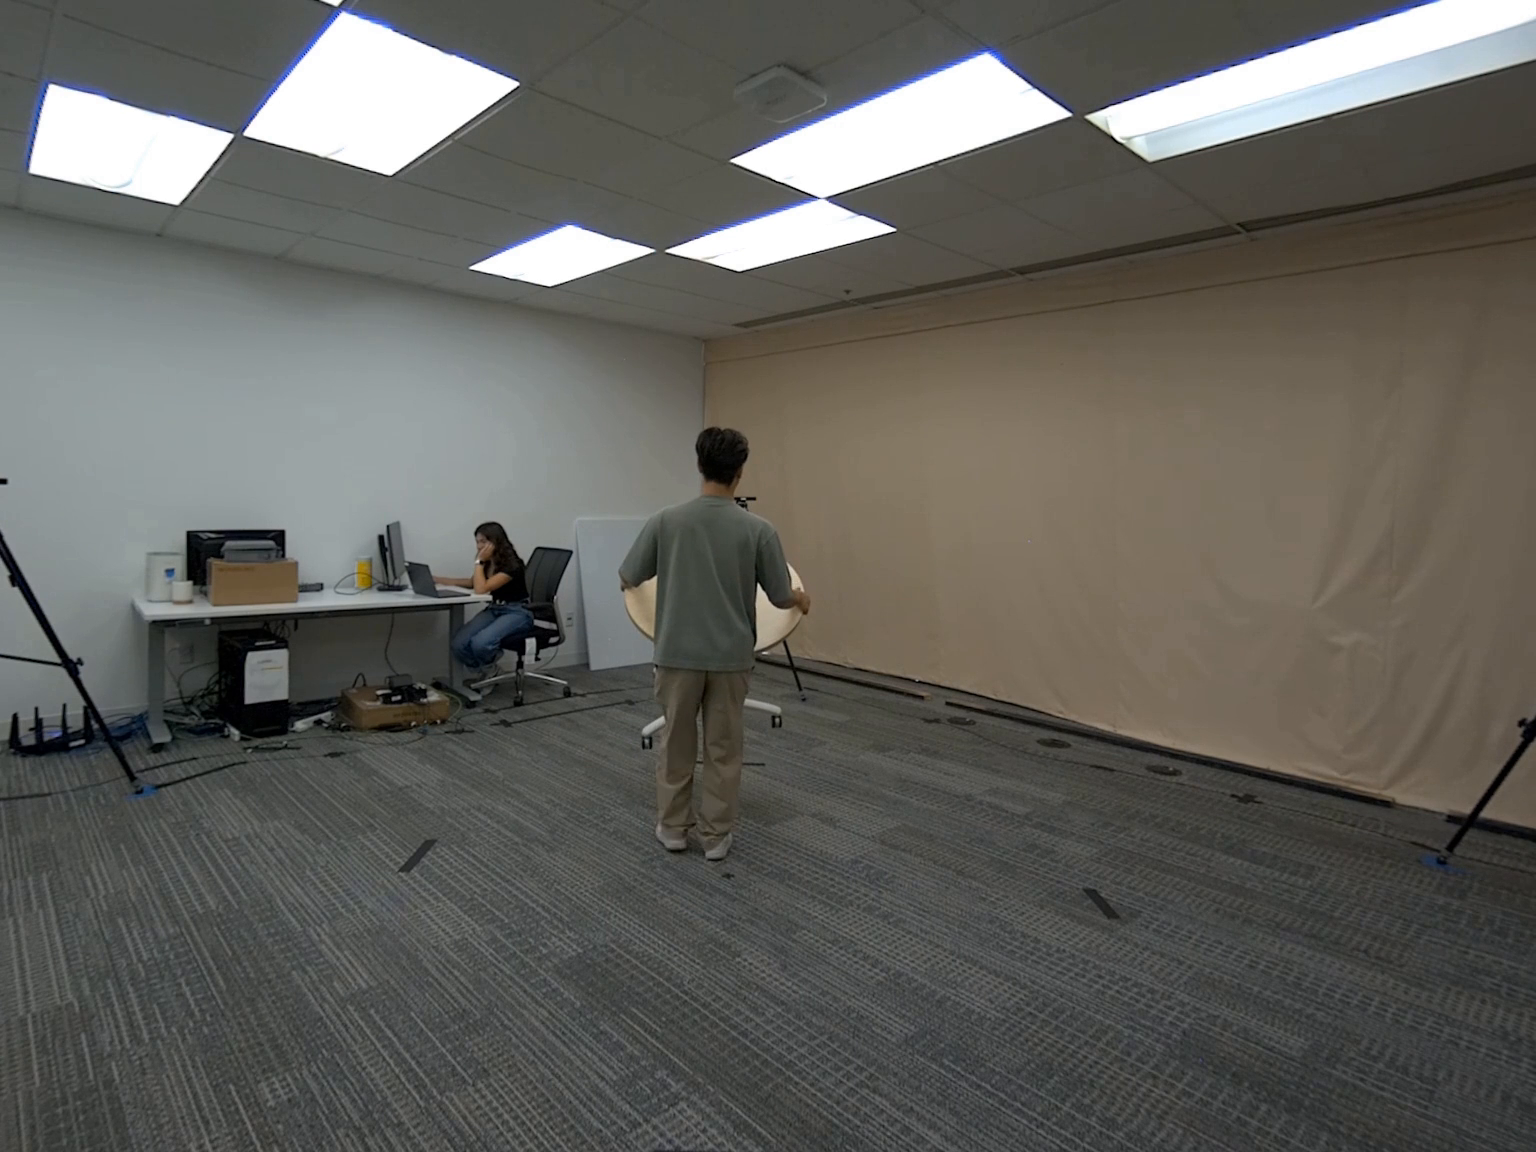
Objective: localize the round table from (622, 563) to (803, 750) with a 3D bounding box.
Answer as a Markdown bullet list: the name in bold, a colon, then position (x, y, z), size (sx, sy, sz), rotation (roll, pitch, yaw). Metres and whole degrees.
- **round table**: position (-0.252, 0.377, 3.818), size (0.783, 0.771, 0.802), rotation (2, 40, -3)
